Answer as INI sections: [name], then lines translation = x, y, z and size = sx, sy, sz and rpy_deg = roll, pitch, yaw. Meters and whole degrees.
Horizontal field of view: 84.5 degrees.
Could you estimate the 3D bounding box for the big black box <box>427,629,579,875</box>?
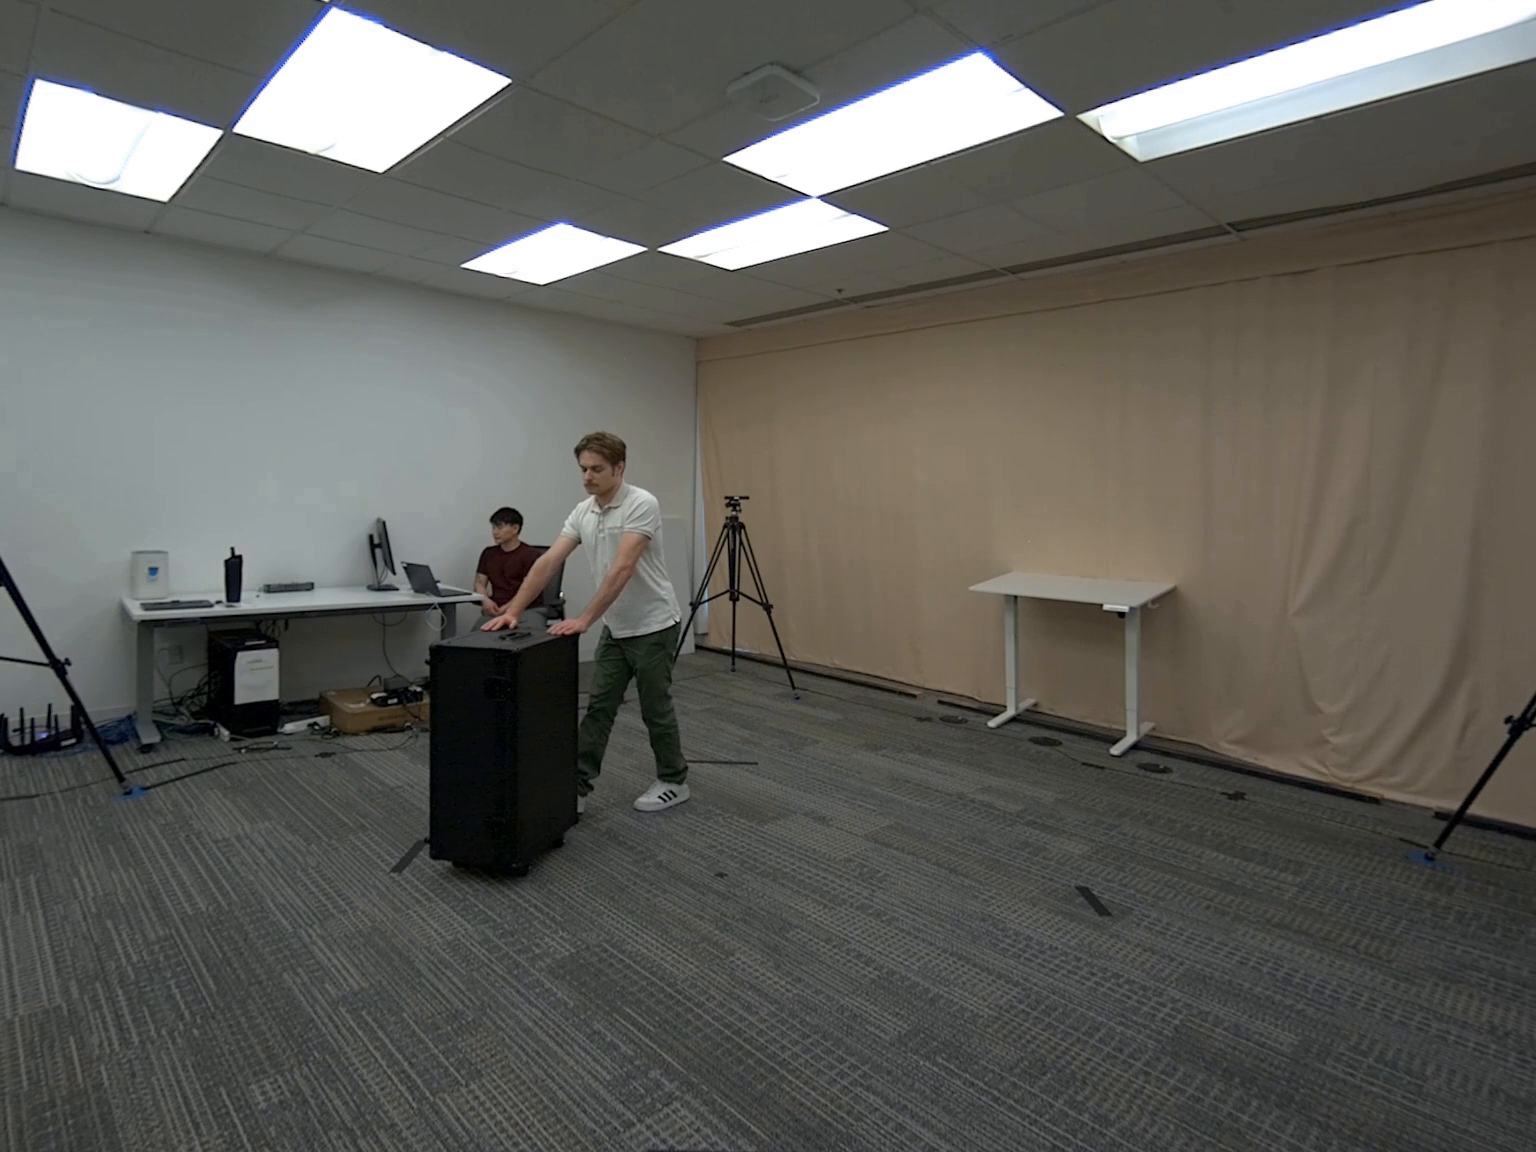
[big black box]
translation = -0.998, 0.656, 3.182
size = 0.390, 0.866, 0.519
rpy_deg = 2, 4, 14
